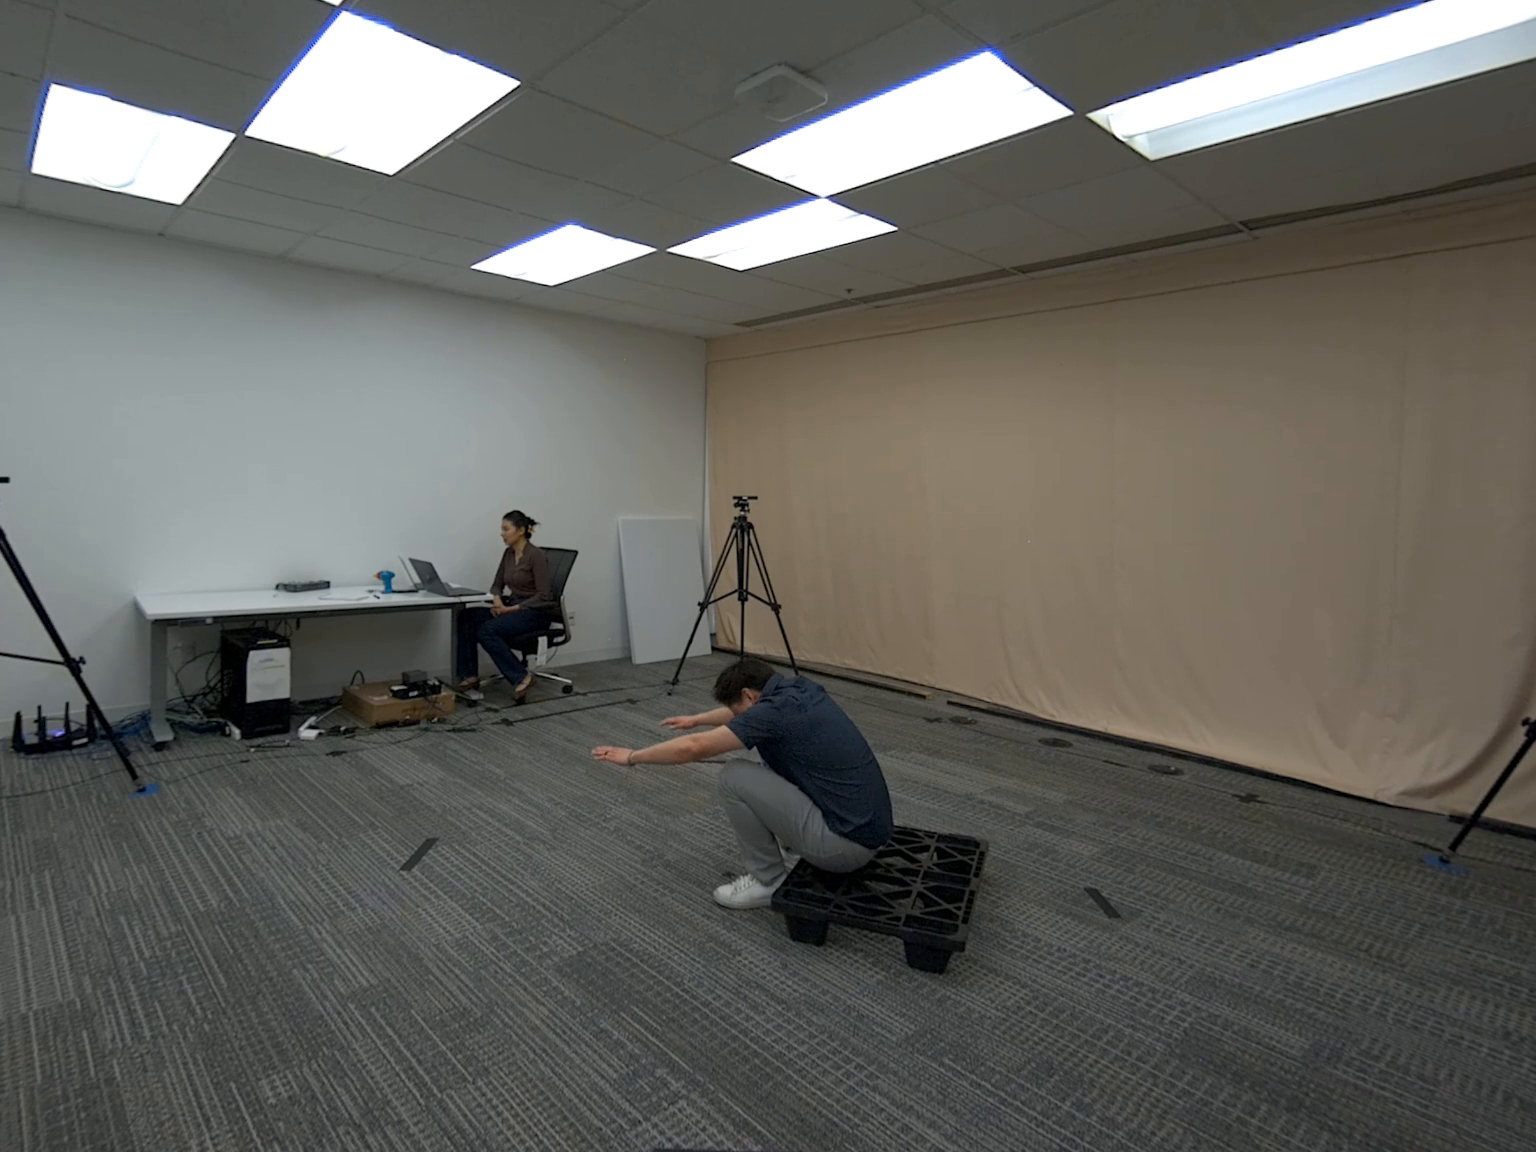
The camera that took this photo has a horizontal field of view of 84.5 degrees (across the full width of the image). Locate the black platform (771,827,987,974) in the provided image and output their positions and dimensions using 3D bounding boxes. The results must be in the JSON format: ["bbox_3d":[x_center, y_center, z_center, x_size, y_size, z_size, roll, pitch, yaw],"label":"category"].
[{"bbox_3d":[0.405,1.069,2.895,0.615,0.143,0.795,3,5,20],"label":"black platform"}]
